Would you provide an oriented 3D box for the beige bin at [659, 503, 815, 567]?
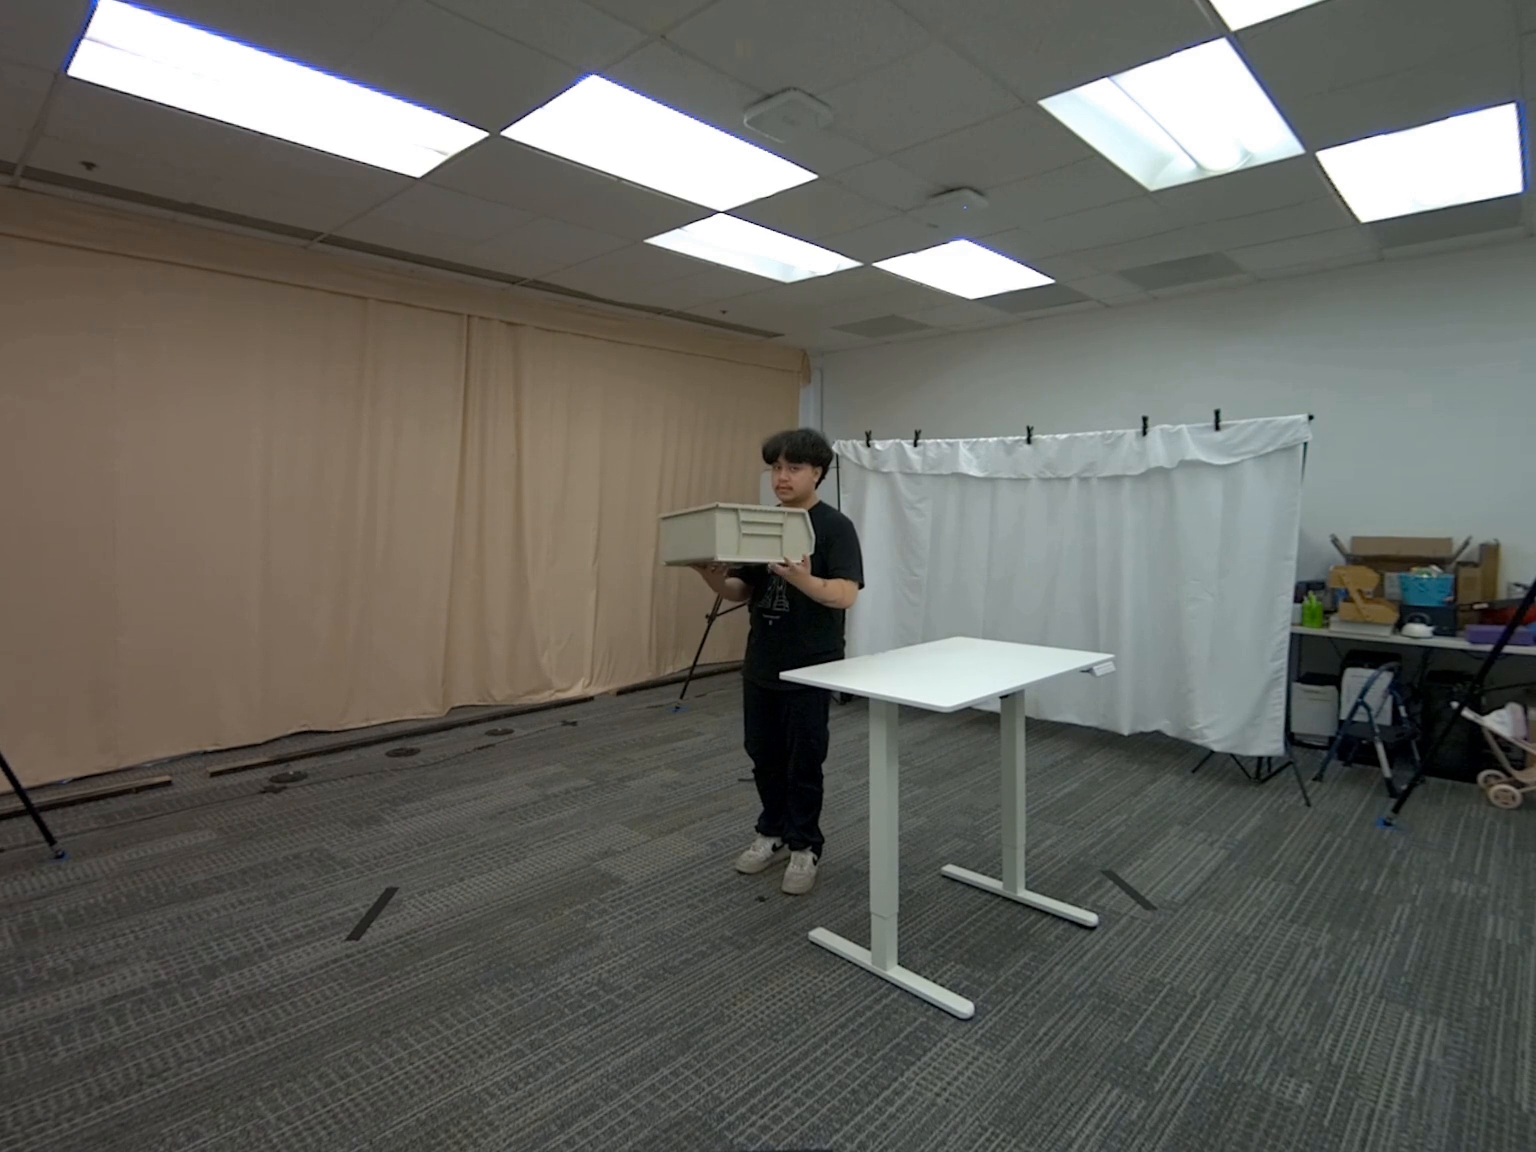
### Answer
[{"bbox_3d":[-0.120,-0.122,2.858,0.367,0.189,0.434,1,-2,-31],"label":"beige bin"}]
